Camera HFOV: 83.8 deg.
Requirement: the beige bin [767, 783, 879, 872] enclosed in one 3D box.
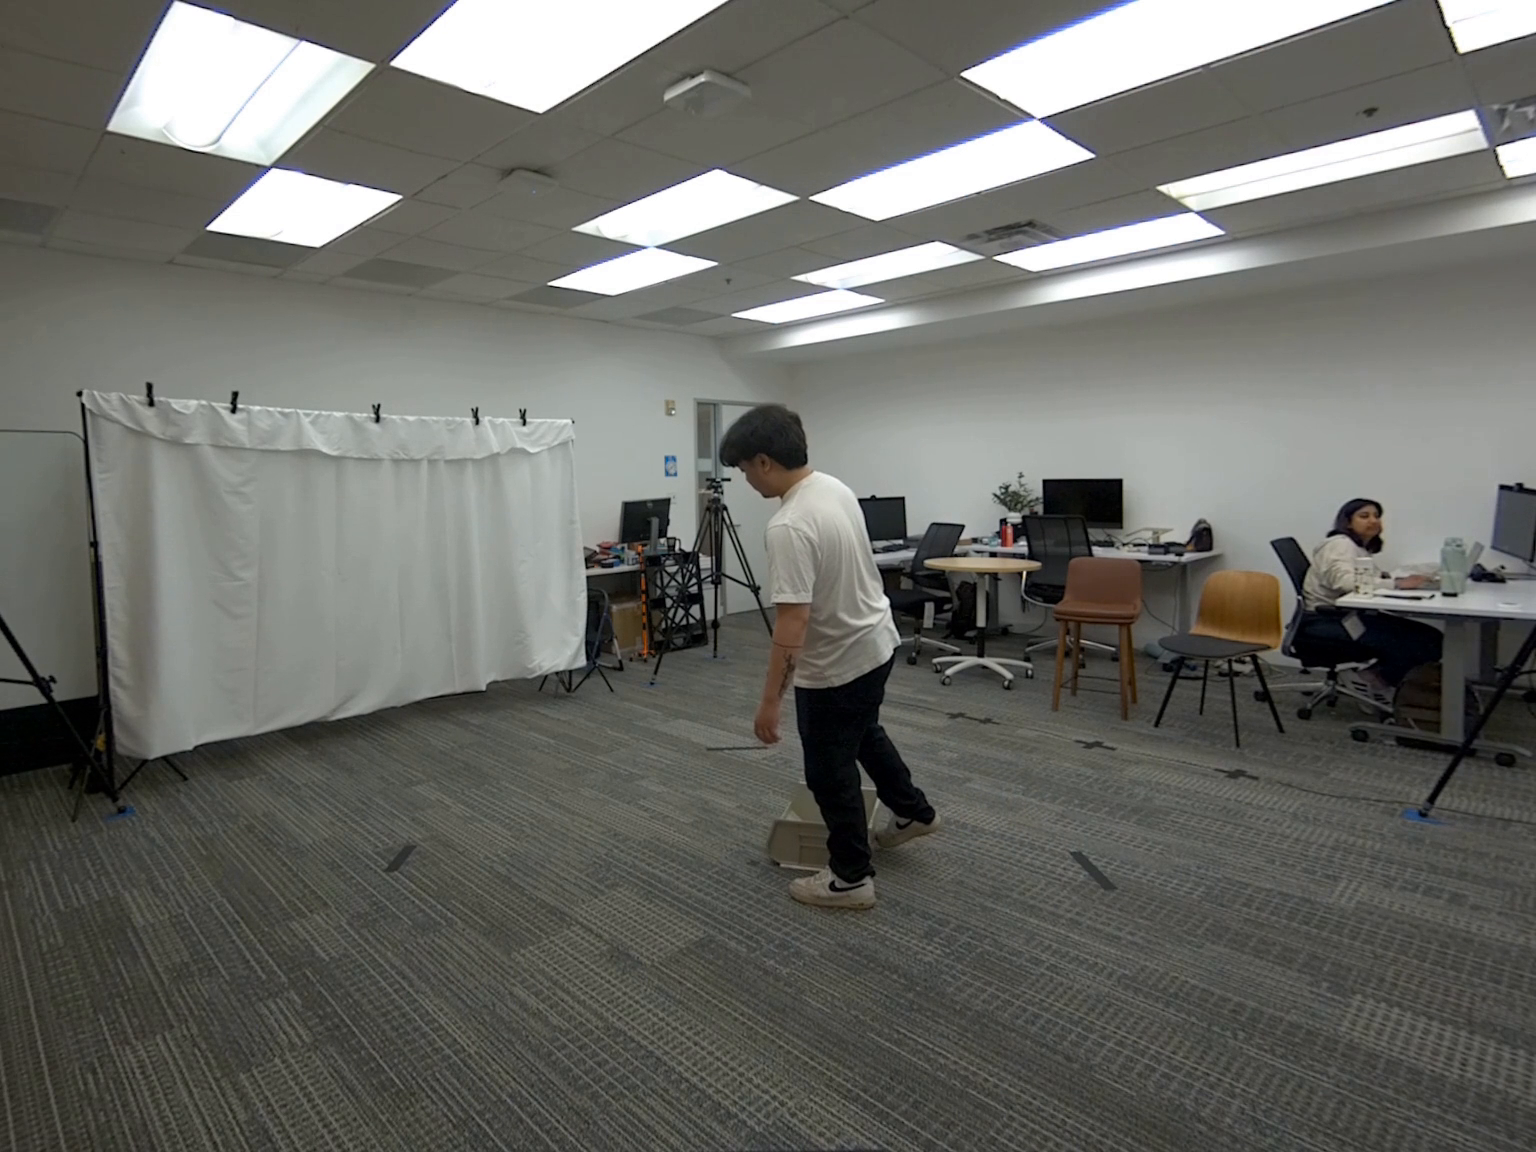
[{"bbox_3d":[0.220,0.940,3.214,0.383,0.188,0.418,2,5,14],"label":"beige bin"}]
